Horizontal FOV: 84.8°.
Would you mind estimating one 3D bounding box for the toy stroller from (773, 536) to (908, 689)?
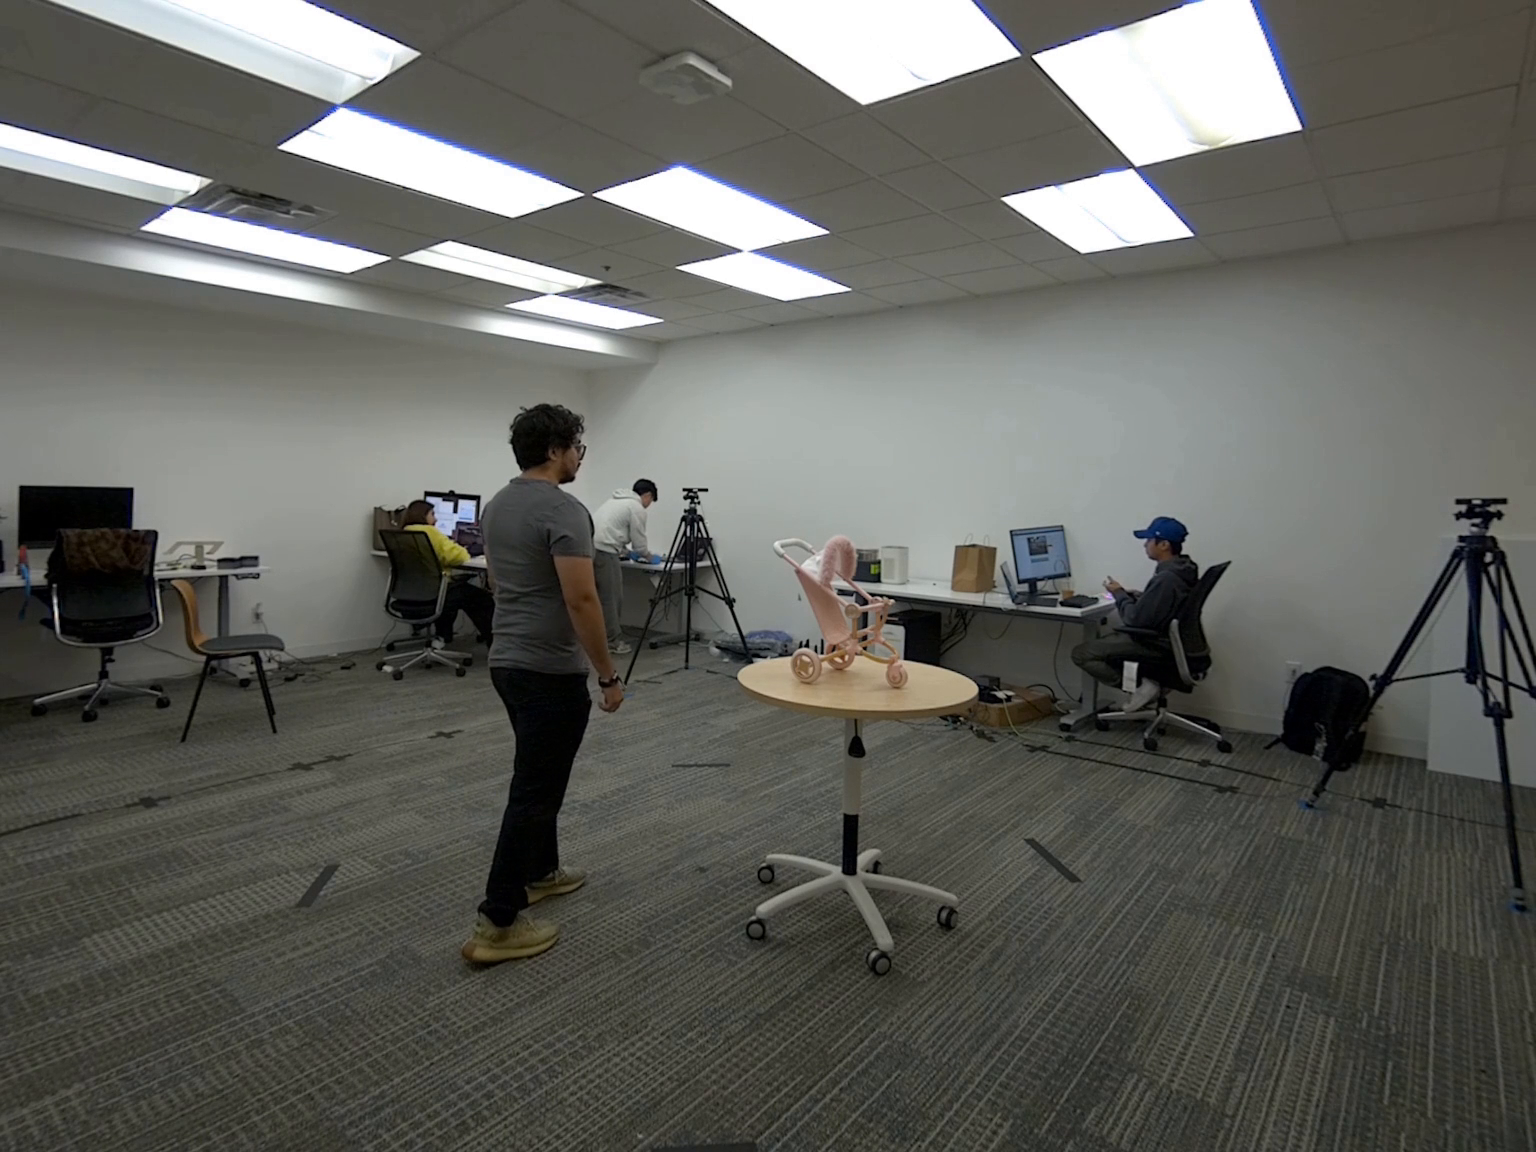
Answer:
[{"bbox_3d":[0.234,0.111,2.741,0.349,0.538,0.274,-14,-5,36],"label":"toy stroller"}]
